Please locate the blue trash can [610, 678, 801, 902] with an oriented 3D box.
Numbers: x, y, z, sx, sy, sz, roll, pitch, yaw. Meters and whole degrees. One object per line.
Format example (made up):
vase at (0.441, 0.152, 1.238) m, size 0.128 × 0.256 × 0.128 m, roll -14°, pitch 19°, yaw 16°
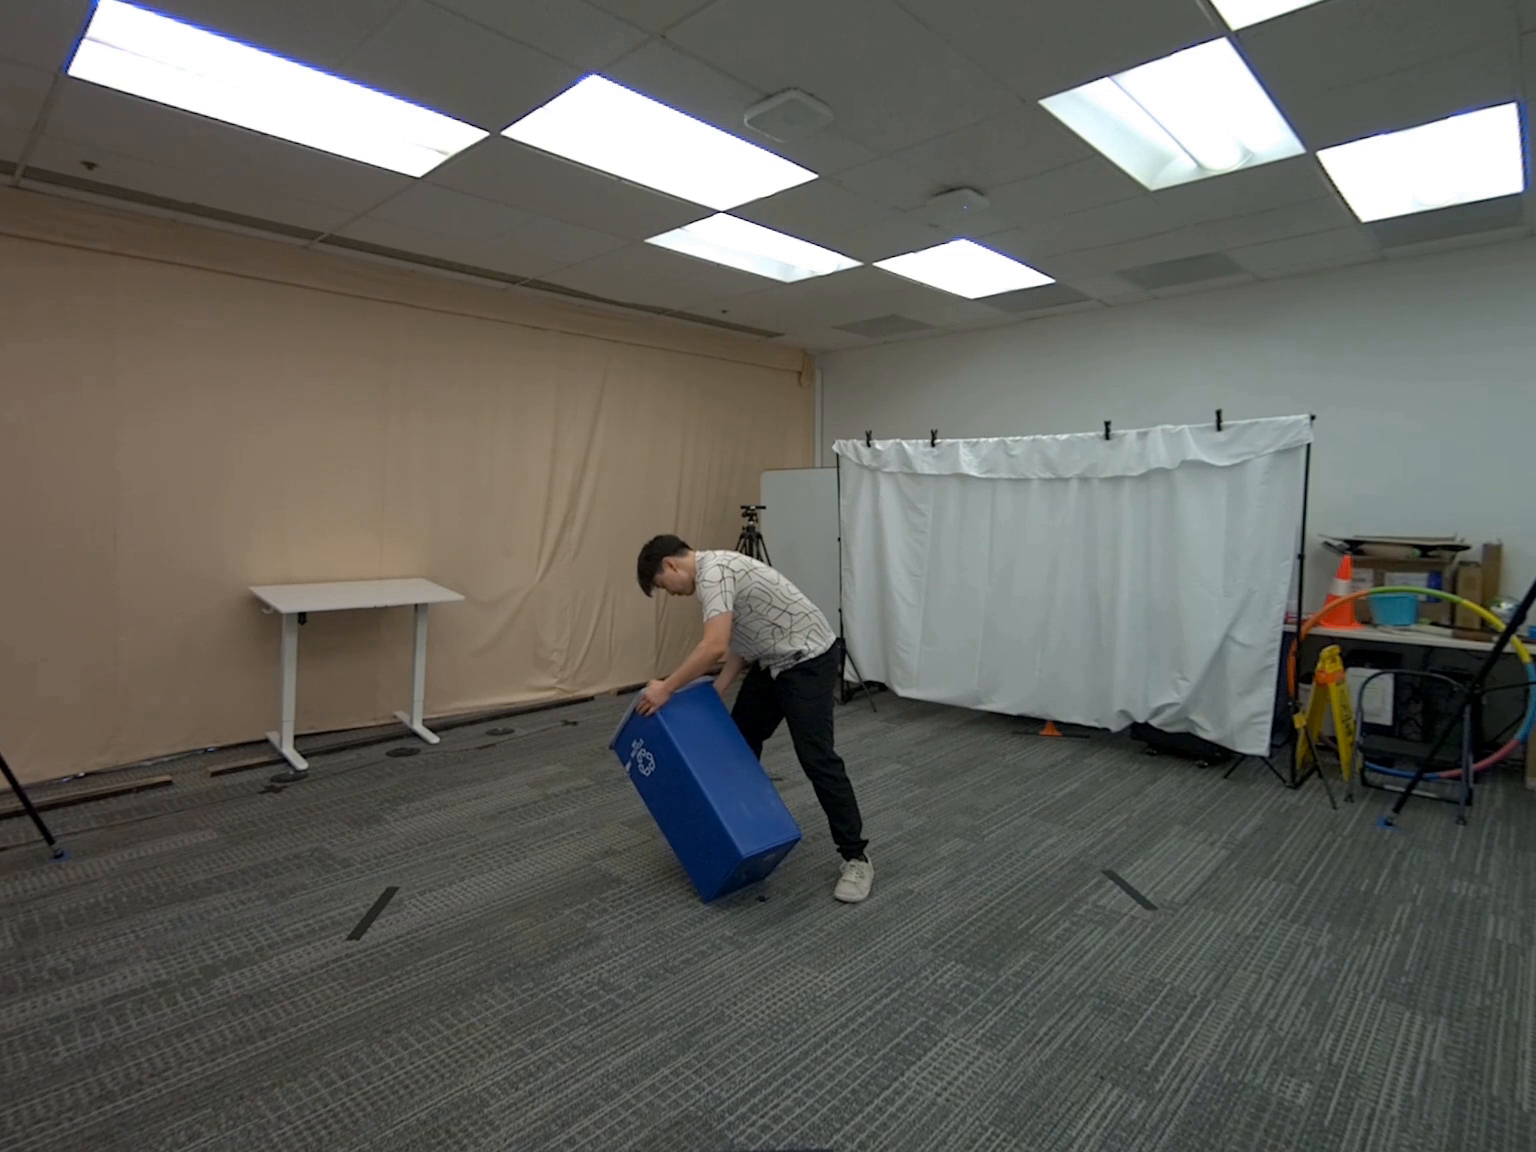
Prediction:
blue trash can at (-0.234, 0.783, 3.136) m, size 0.362 × 0.378 × 0.735 m, roll -2°, pitch 45°, yaw -44°
